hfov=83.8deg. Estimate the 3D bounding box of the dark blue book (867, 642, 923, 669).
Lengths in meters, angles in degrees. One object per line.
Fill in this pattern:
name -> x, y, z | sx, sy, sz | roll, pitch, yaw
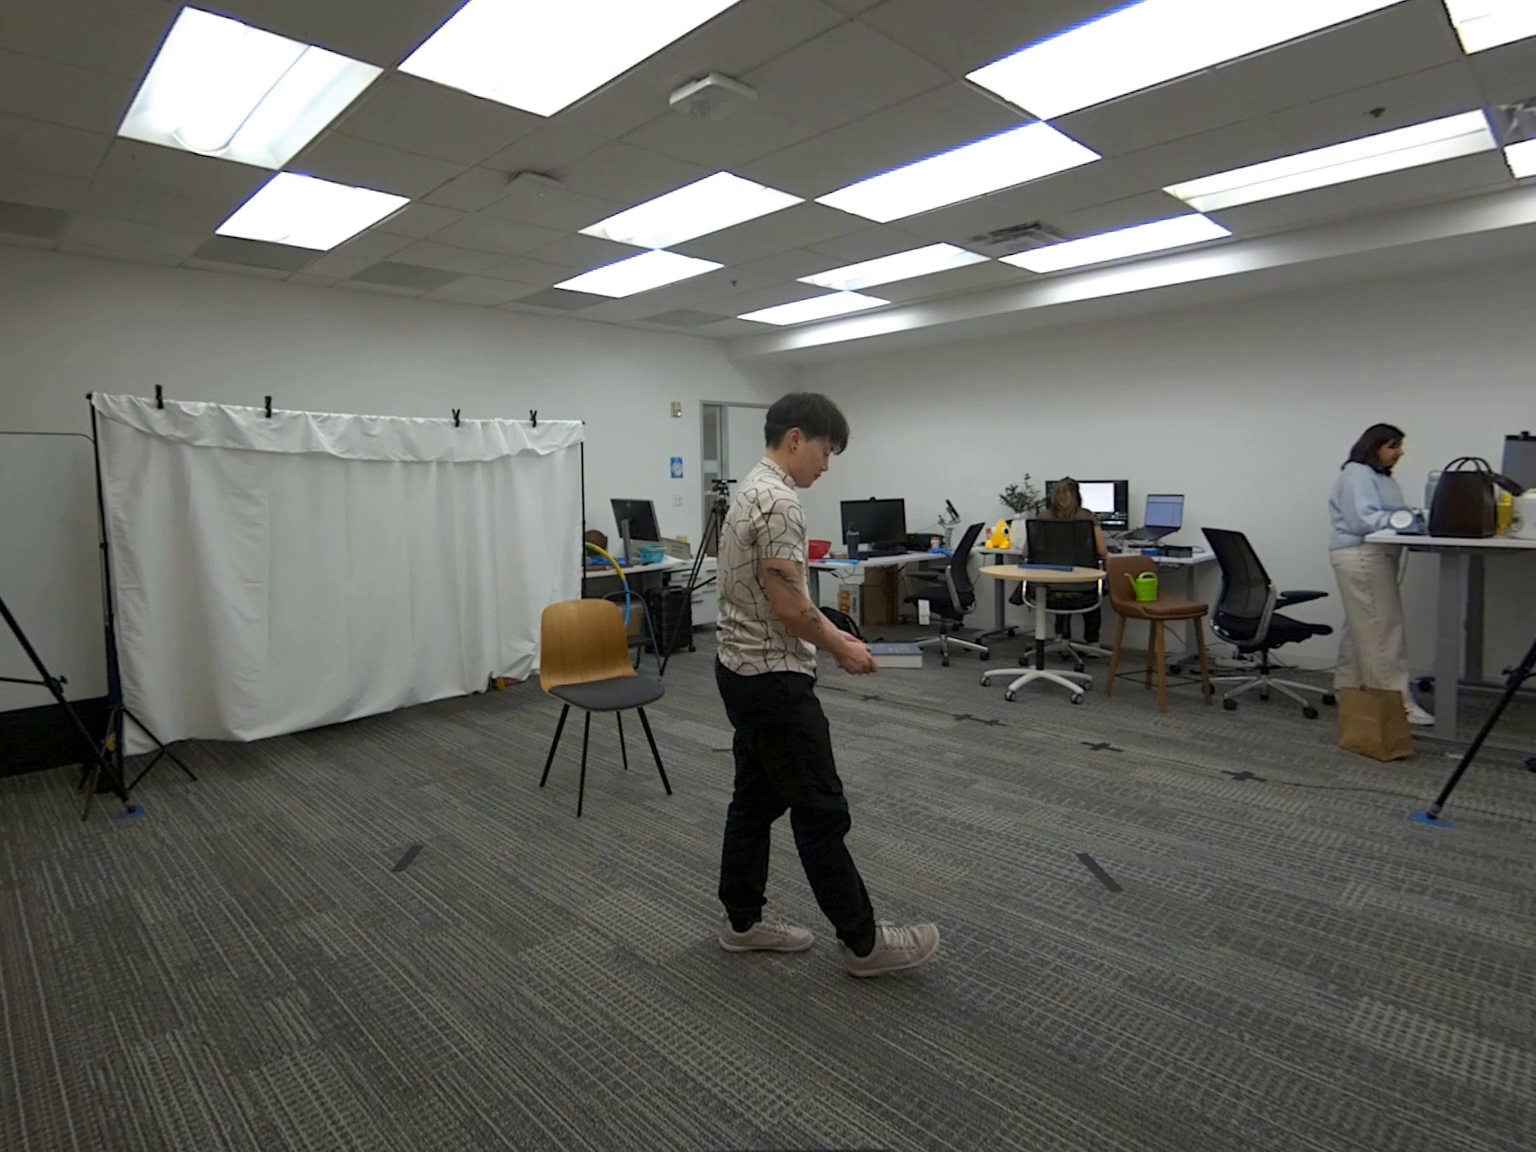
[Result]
dark blue book -> 0.333, 0.236, 2.514 | 0.246, 0.045, 0.163 | -1, 5, 4
